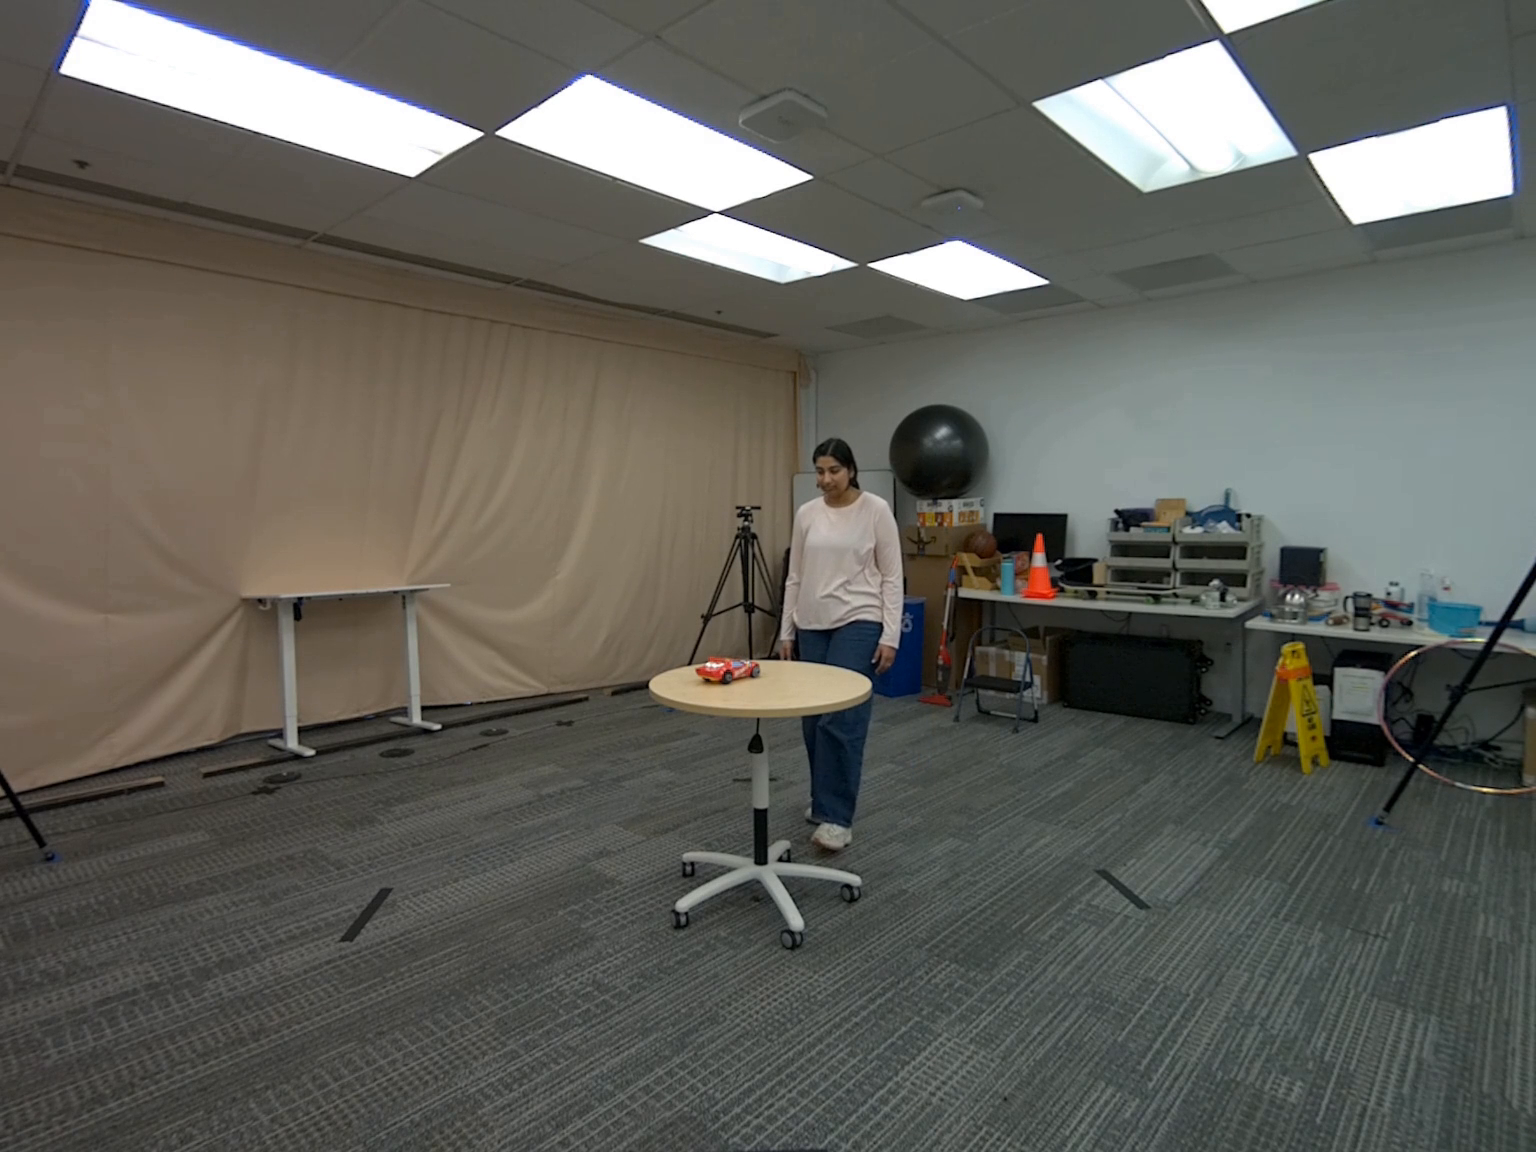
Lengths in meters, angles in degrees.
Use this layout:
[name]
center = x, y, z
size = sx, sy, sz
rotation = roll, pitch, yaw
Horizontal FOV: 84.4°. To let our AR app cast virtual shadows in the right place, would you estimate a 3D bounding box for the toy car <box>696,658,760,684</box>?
[toy car]
center = -0.141, 0.333, 2.954
size = 0.135, 0.083, 0.246
rotation = 5, -4, 44
